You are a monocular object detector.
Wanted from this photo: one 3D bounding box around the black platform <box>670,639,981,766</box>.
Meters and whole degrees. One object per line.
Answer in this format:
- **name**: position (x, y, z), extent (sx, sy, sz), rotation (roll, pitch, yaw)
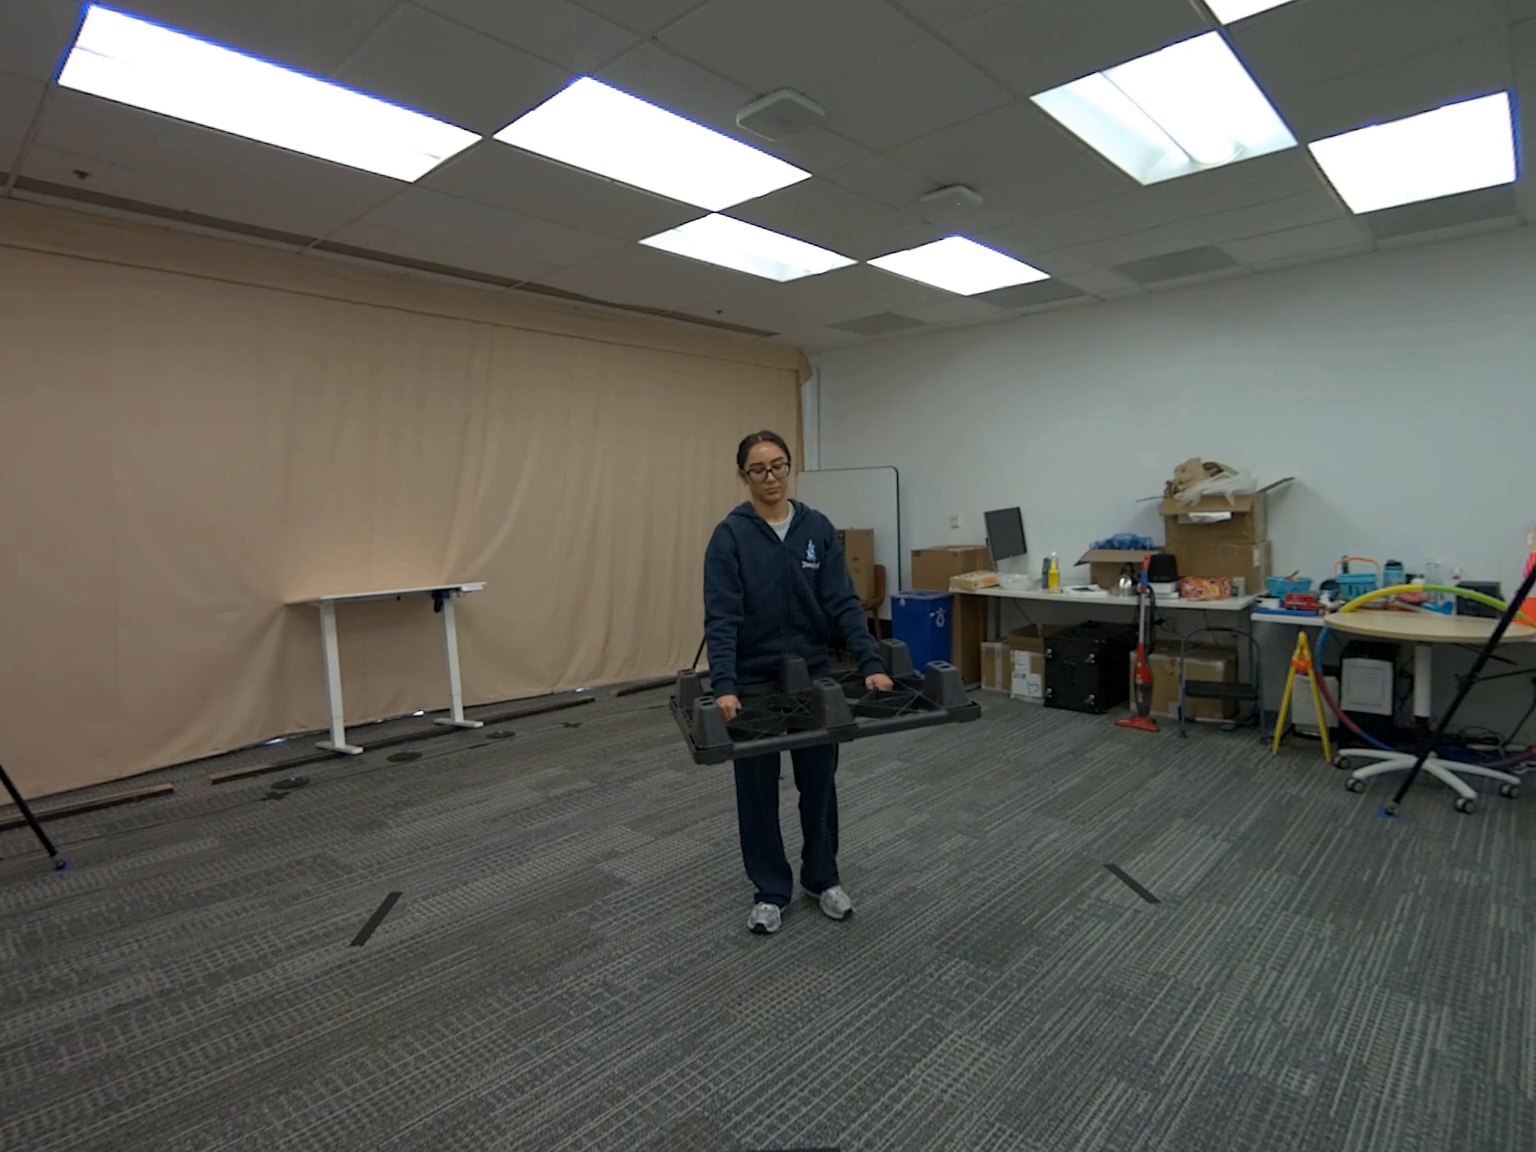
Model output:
- **black platform**: position (0.130, 0.345, 2.517), extent (0.798, 0.142, 0.614), rotation (-6, 8, -10)
